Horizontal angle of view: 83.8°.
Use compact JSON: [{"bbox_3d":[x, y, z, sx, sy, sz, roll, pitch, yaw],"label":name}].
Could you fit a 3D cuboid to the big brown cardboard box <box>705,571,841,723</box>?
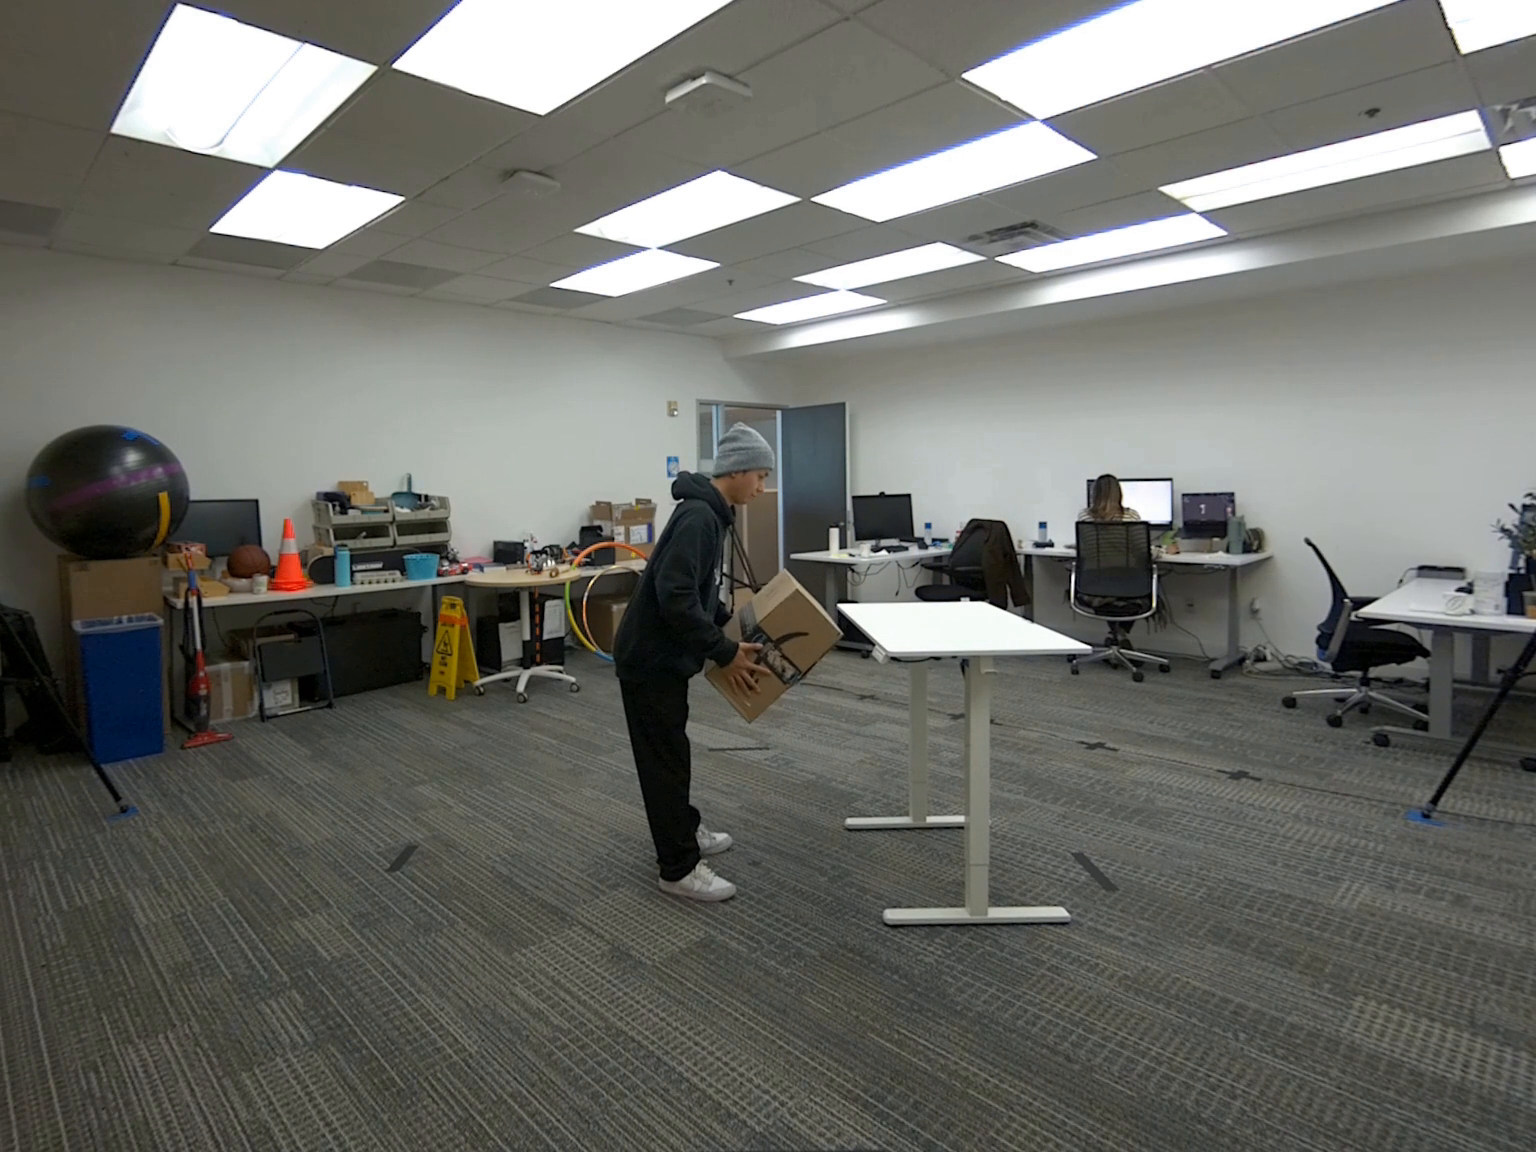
[{"bbox_3d":[-0.001,0.218,2.986,0.418,0.231,0.593,-42,7,4],"label":"big brown cardboard box"}]
